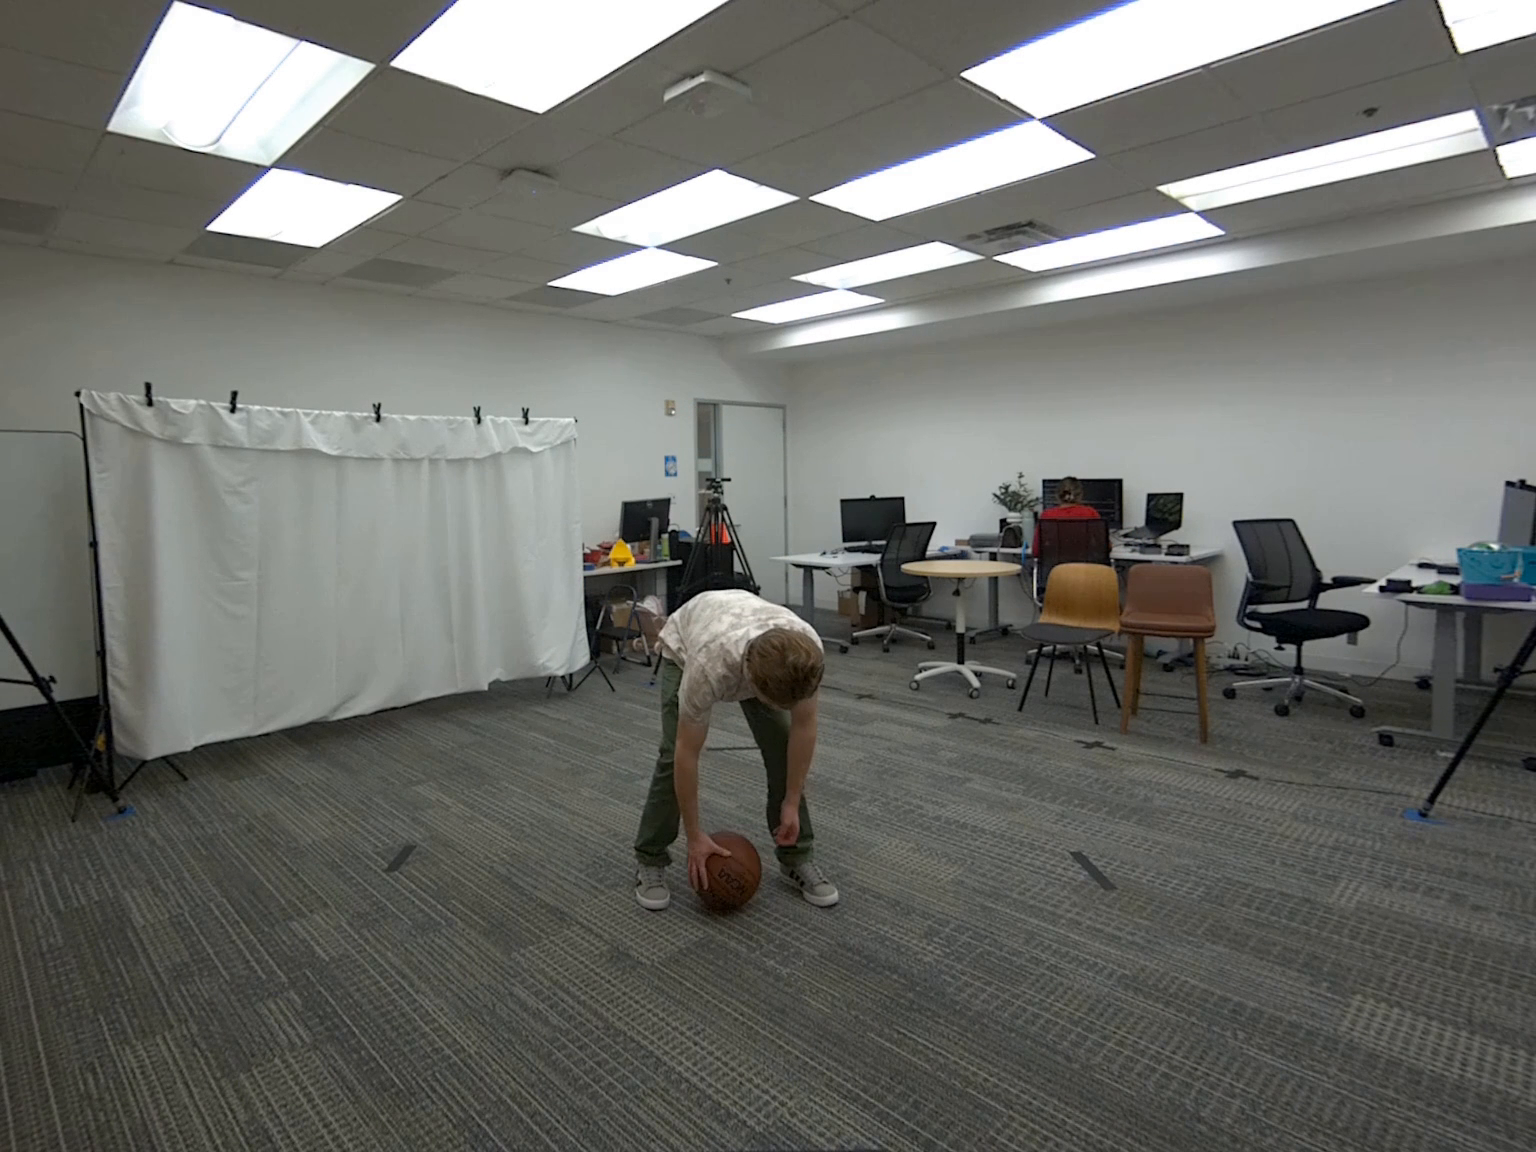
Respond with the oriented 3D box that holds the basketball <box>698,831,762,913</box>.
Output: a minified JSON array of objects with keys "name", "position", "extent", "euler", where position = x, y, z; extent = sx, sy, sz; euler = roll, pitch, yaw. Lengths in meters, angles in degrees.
[{"name":"basketball","position":[-0.132,0.955,2.795],"extent":[0.236,0.235,0.237],"euler":[-1,5,-2]}]
